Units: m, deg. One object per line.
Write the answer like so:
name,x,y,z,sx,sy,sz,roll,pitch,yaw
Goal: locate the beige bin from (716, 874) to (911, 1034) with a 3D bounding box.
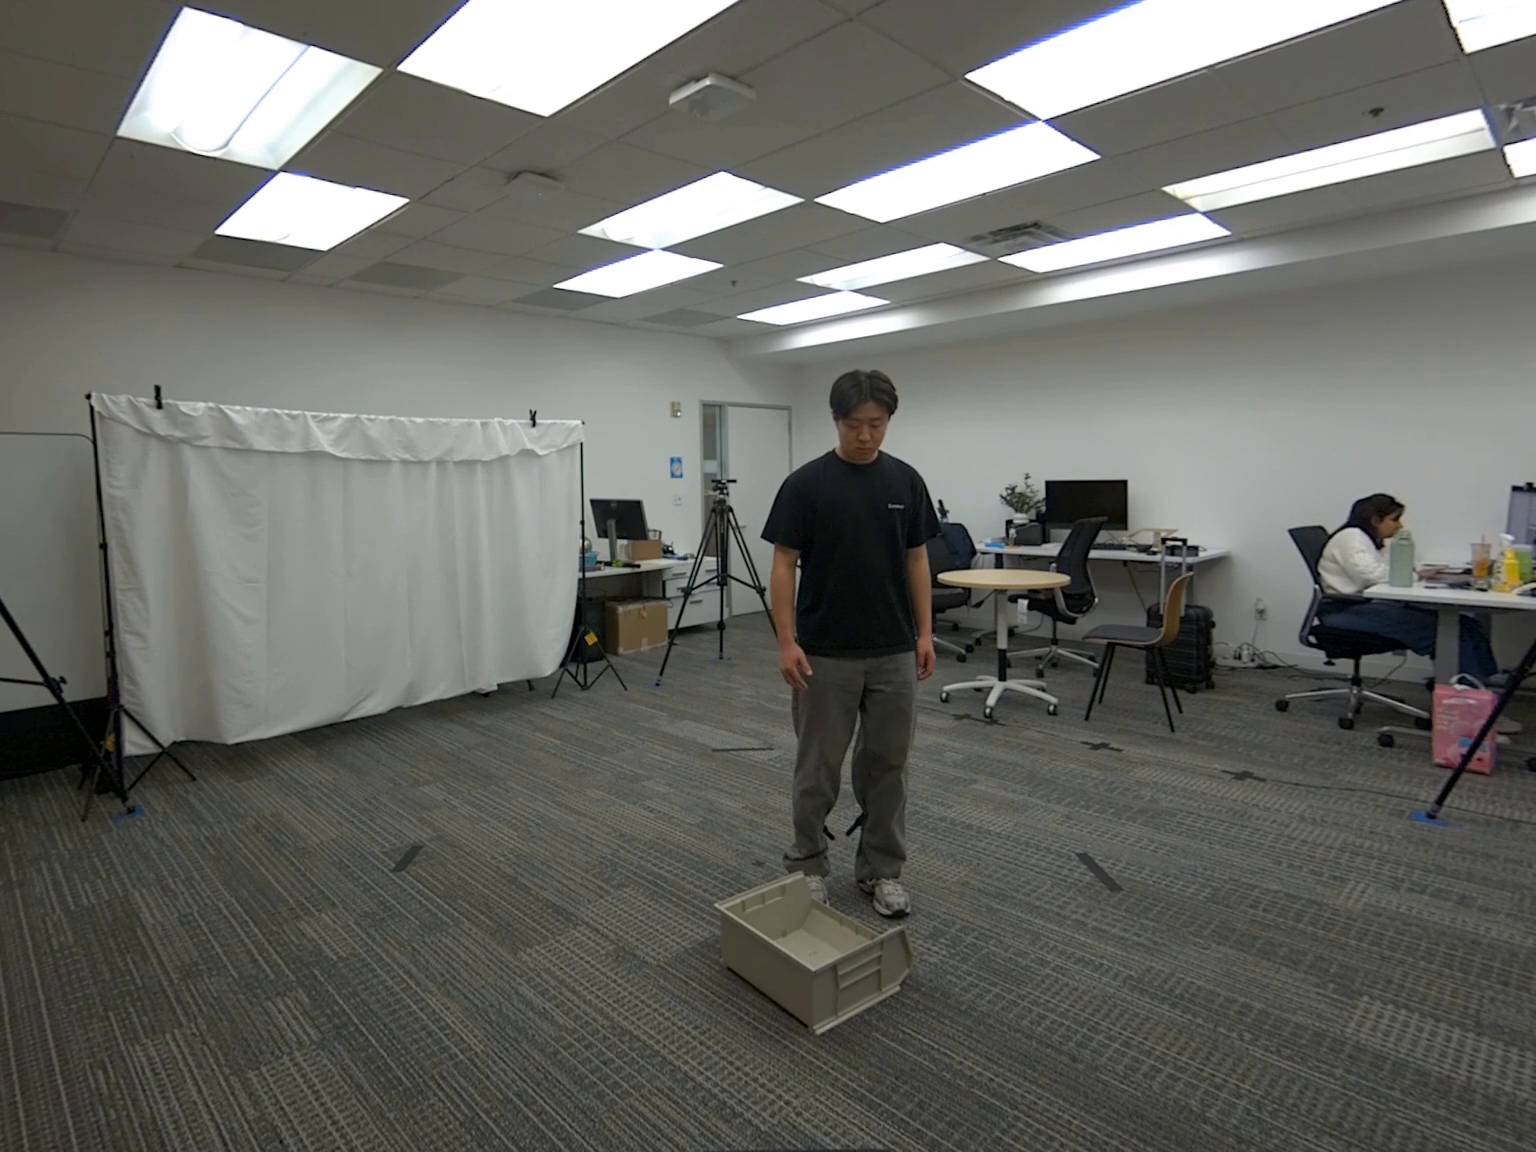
beige bin,0.130,1.036,2.403,0.368,0.188,0.435,-7,8,-38
